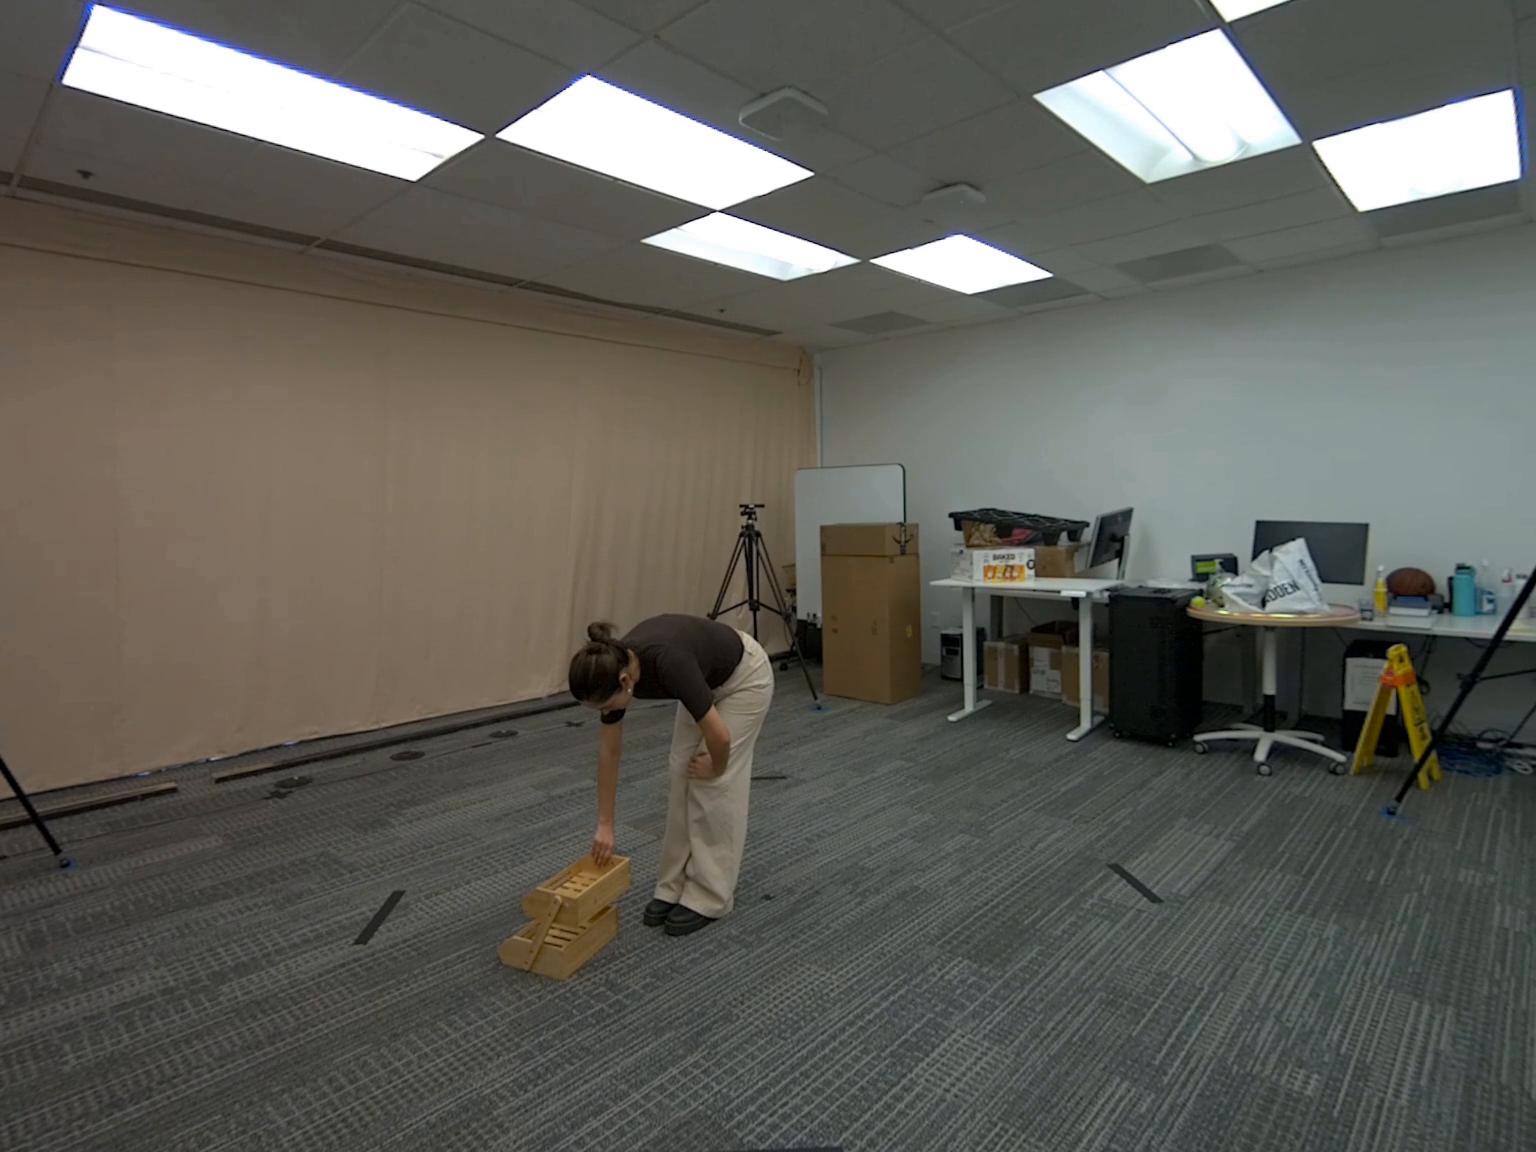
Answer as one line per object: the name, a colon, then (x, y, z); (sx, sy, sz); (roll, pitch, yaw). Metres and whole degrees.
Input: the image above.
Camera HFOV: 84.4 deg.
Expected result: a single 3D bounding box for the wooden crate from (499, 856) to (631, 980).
wooden crate: (-0.640, 1.048, 2.649); (0.310, 0.272, 0.317); (2, 5, 24)
